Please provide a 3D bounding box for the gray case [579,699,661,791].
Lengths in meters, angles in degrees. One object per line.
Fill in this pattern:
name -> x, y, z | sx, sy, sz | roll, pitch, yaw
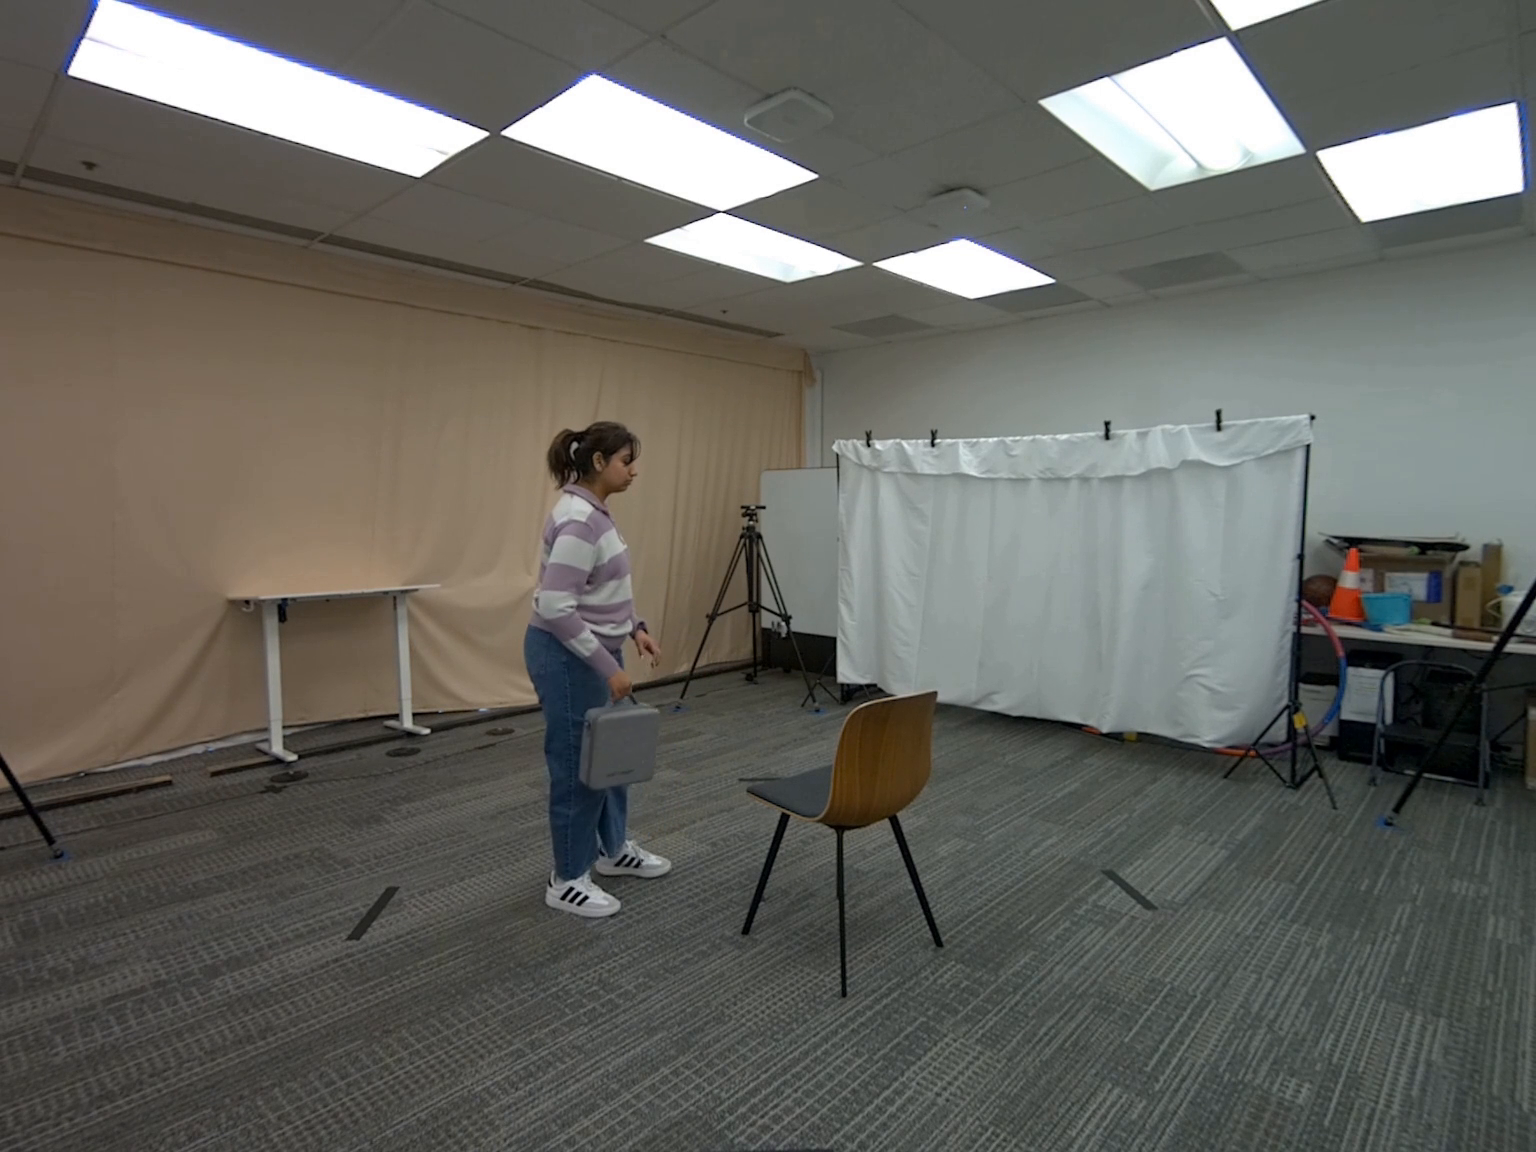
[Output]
gray case -> -0.486, 0.548, 2.756 | 0.248, 0.260, 0.108 | 4, 4, -40
